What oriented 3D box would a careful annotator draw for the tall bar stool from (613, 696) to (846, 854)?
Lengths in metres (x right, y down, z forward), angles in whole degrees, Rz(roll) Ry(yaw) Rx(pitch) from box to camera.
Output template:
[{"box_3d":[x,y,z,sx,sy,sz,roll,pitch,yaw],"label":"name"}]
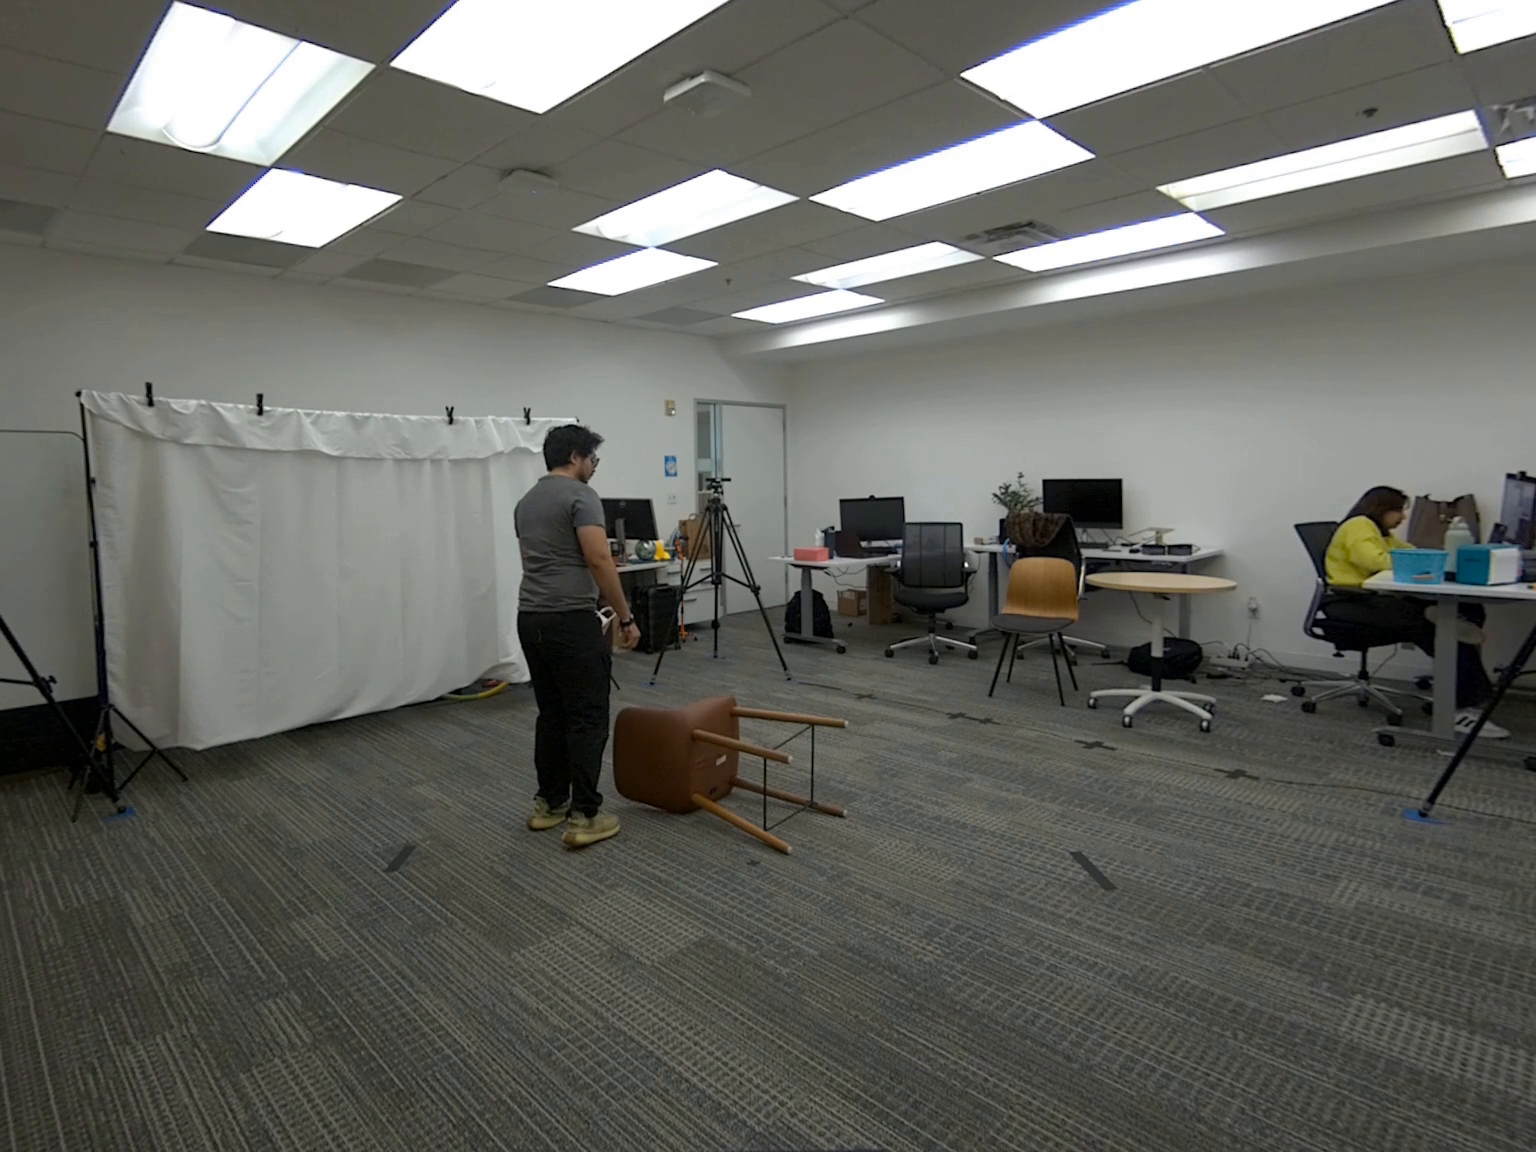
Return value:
[{"box_3d":[-0.164,0.778,3.569,0.916,0.453,0.457,6,10,33],"label":"tall bar stool"}]
